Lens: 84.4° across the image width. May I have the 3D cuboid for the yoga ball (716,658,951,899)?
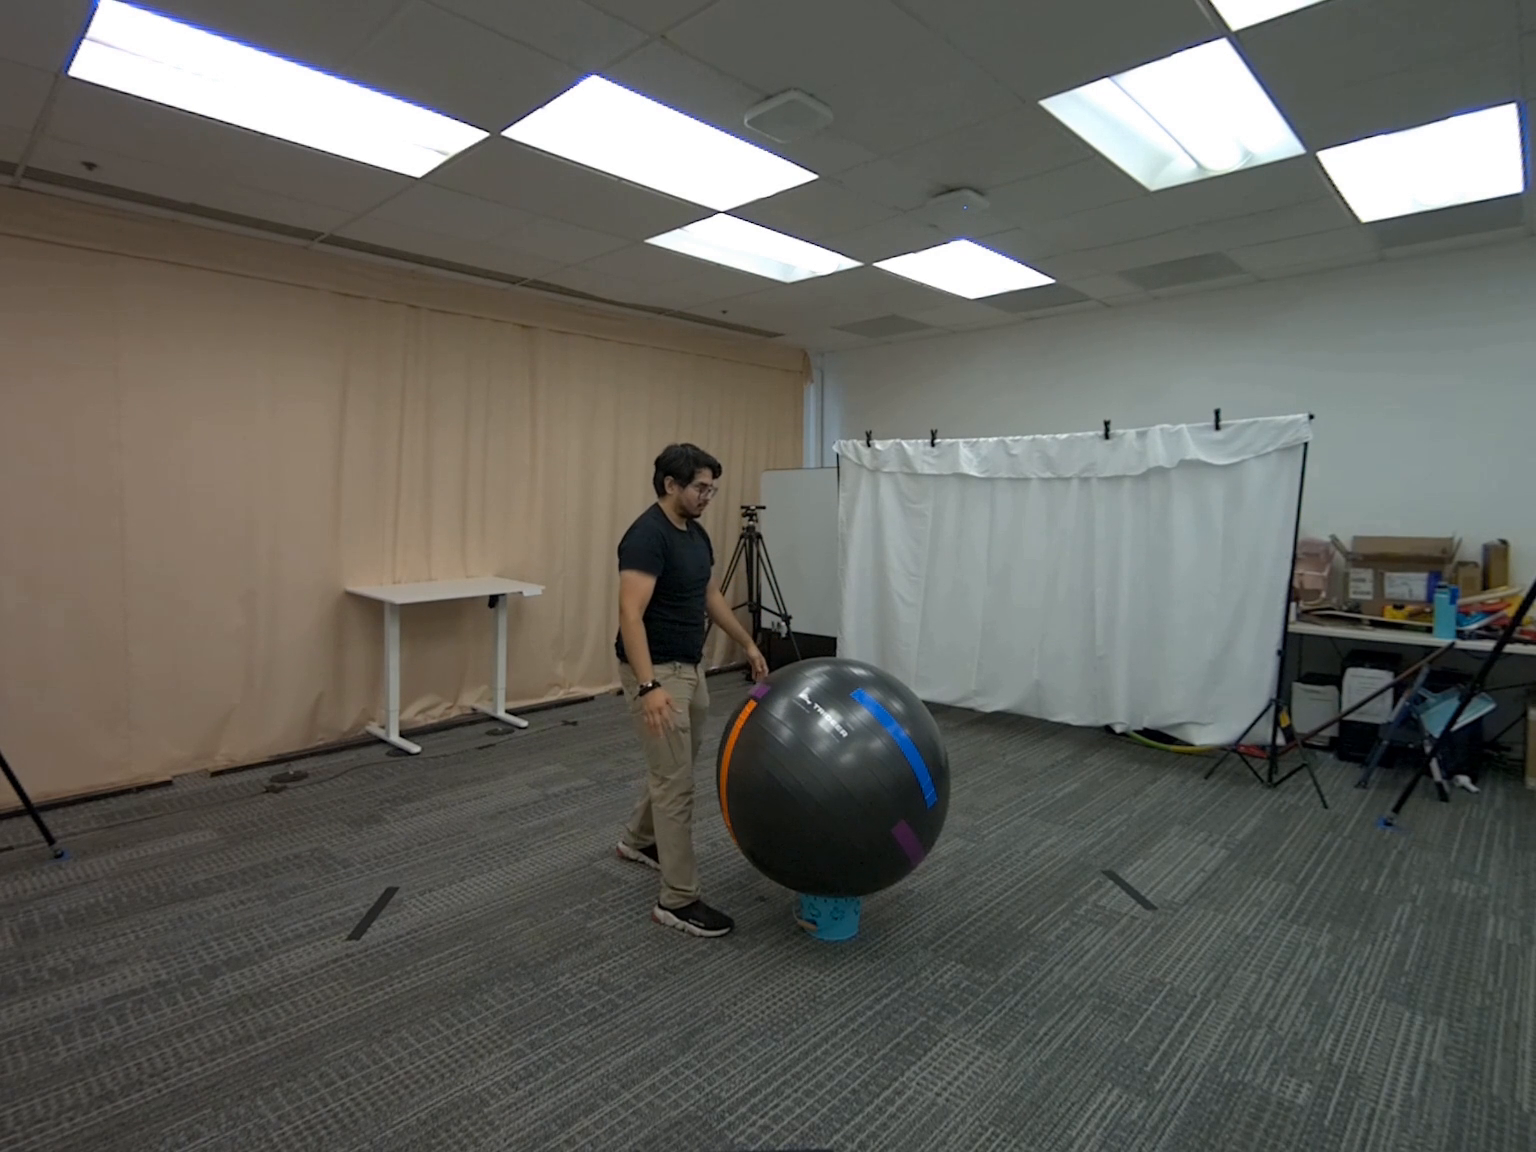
[{"bbox_3d":[0.217,0.654,2.762,0.757,0.756,0.761,0,4,-2],"label":"yoga ball"}]
